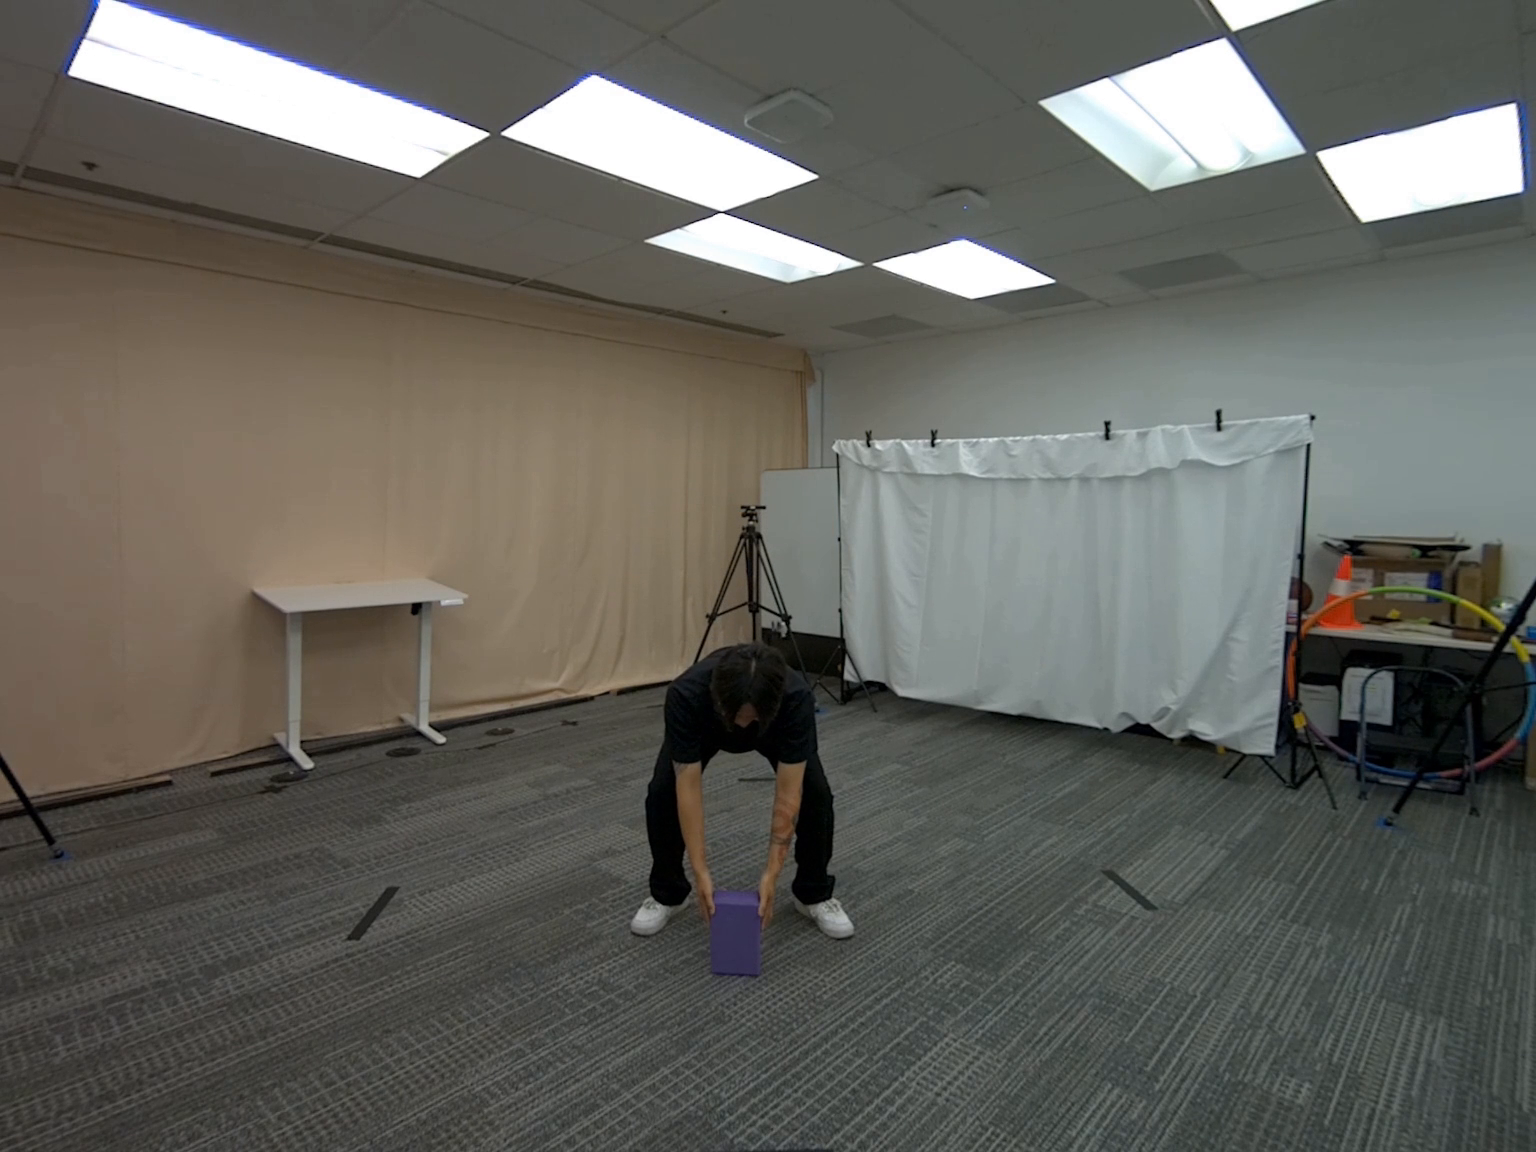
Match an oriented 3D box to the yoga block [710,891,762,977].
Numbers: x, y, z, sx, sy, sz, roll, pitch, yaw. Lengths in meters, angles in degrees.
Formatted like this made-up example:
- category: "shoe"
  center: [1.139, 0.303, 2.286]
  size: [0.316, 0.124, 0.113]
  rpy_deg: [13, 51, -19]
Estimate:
- category: "yoga block"
  center: [-0.091, 1.071, 2.514]
  size: [0.149, 0.228, 0.076]
  rpy_deg: [2, 5, 3]
